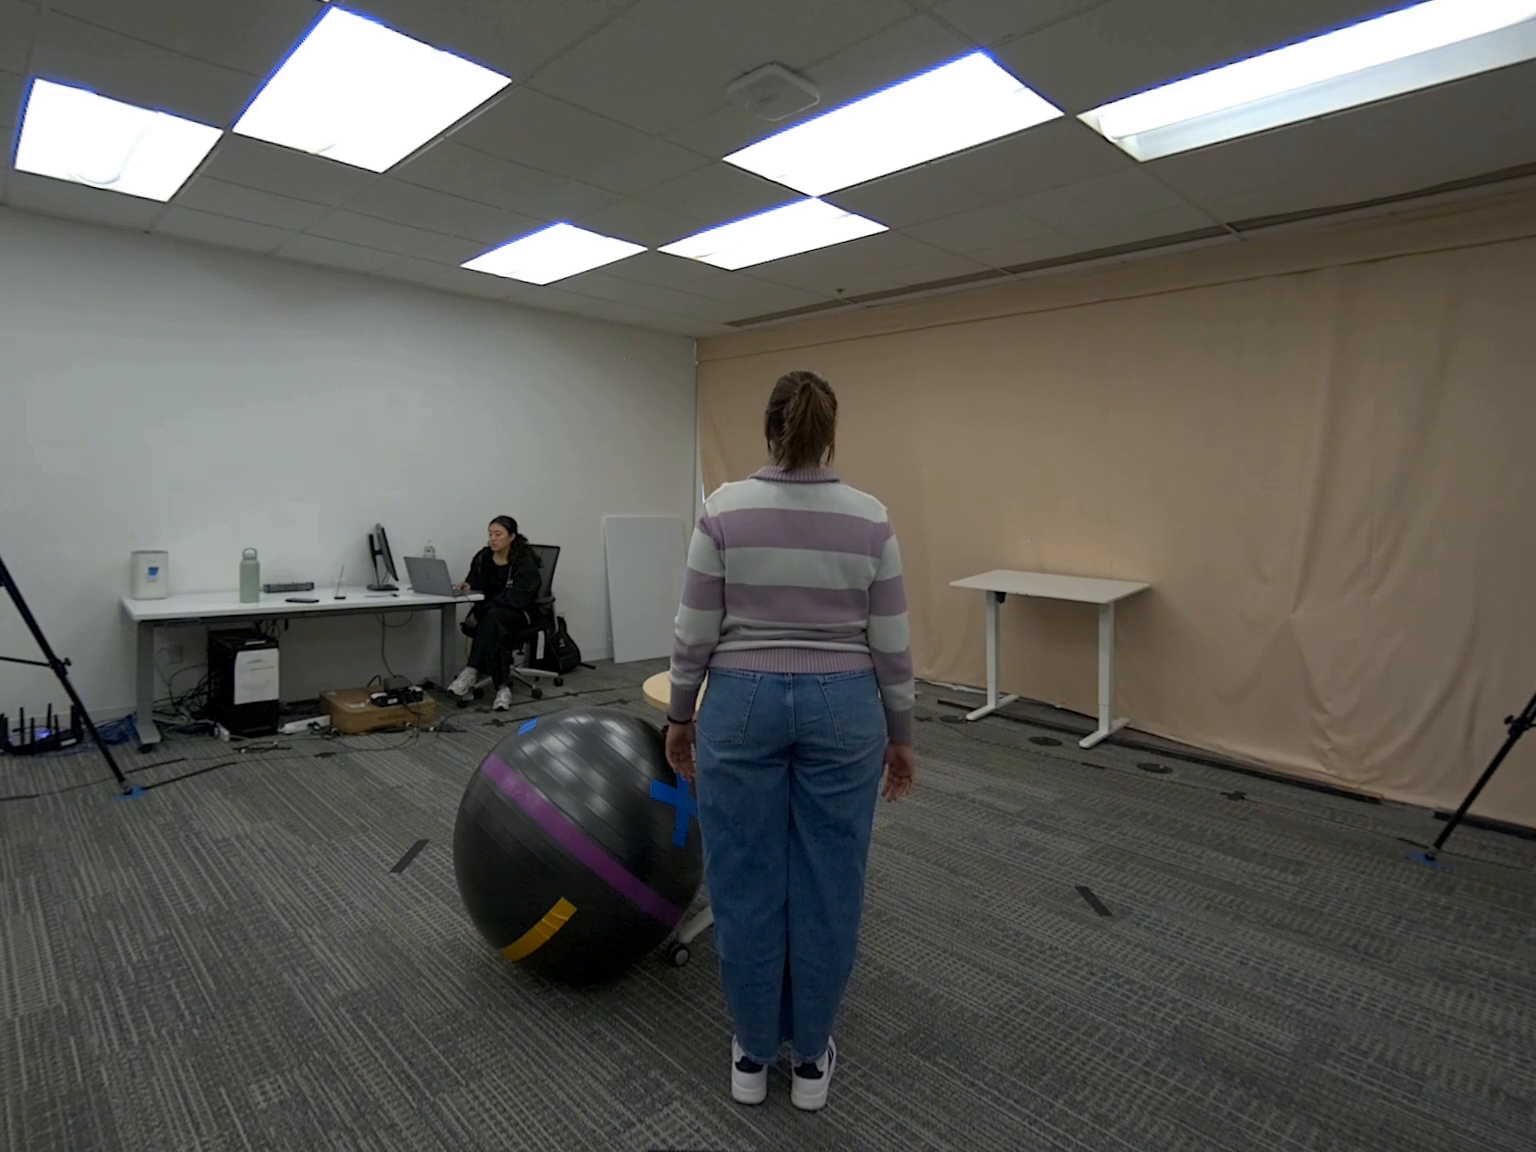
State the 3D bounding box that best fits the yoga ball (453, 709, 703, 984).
[{"bbox_3d":[-0.562,0.781,2.515,0.757,0.756,0.761,1,4,-1],"label":"yoga ball"}]
